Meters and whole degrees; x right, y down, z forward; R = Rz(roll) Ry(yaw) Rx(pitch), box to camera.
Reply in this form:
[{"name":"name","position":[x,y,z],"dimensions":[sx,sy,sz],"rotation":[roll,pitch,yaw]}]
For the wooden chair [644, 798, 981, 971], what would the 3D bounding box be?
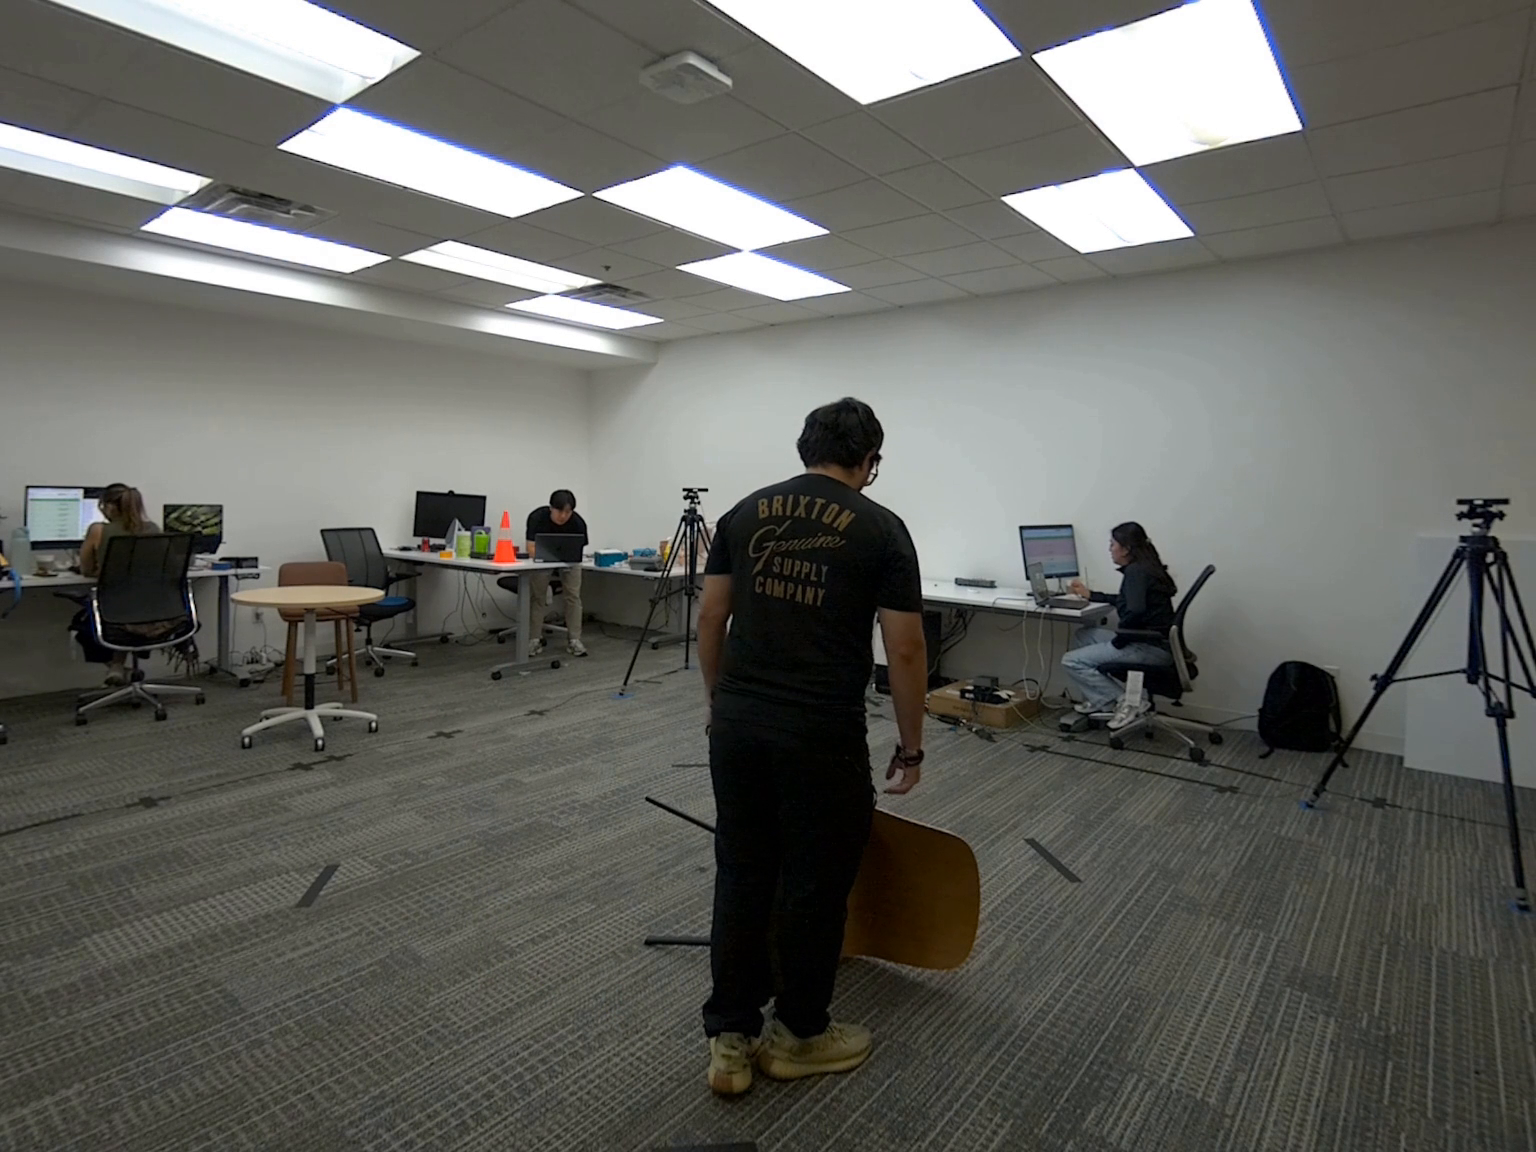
[{"name":"wooden chair","position":[0.098,0.906,2.463],"dimensions":[0.905,0.477,0.508],"rotation":[5,5,34]}]
